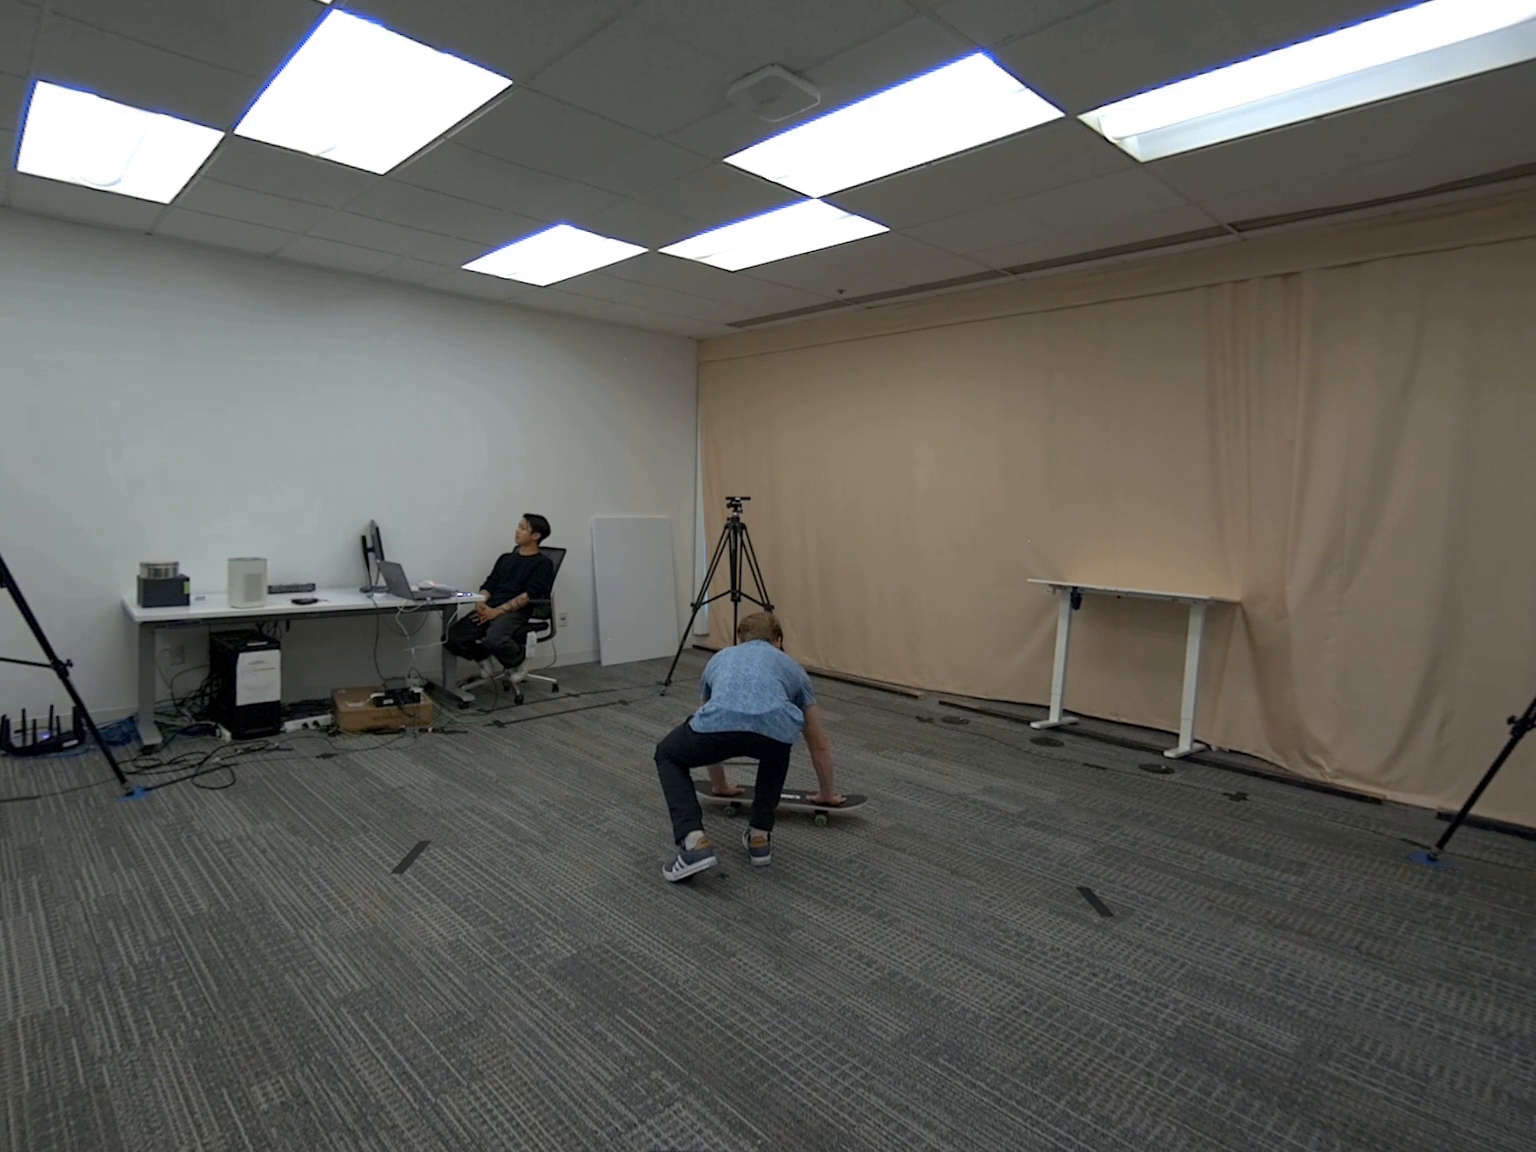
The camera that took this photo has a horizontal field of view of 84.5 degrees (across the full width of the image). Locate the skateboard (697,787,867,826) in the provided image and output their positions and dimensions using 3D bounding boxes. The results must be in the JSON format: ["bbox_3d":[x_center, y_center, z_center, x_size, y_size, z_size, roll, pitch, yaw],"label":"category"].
[{"bbox_3d":[0.040,0.997,3.712,0.793,0.110,0.192,2,3,11],"label":"skateboard"}]
